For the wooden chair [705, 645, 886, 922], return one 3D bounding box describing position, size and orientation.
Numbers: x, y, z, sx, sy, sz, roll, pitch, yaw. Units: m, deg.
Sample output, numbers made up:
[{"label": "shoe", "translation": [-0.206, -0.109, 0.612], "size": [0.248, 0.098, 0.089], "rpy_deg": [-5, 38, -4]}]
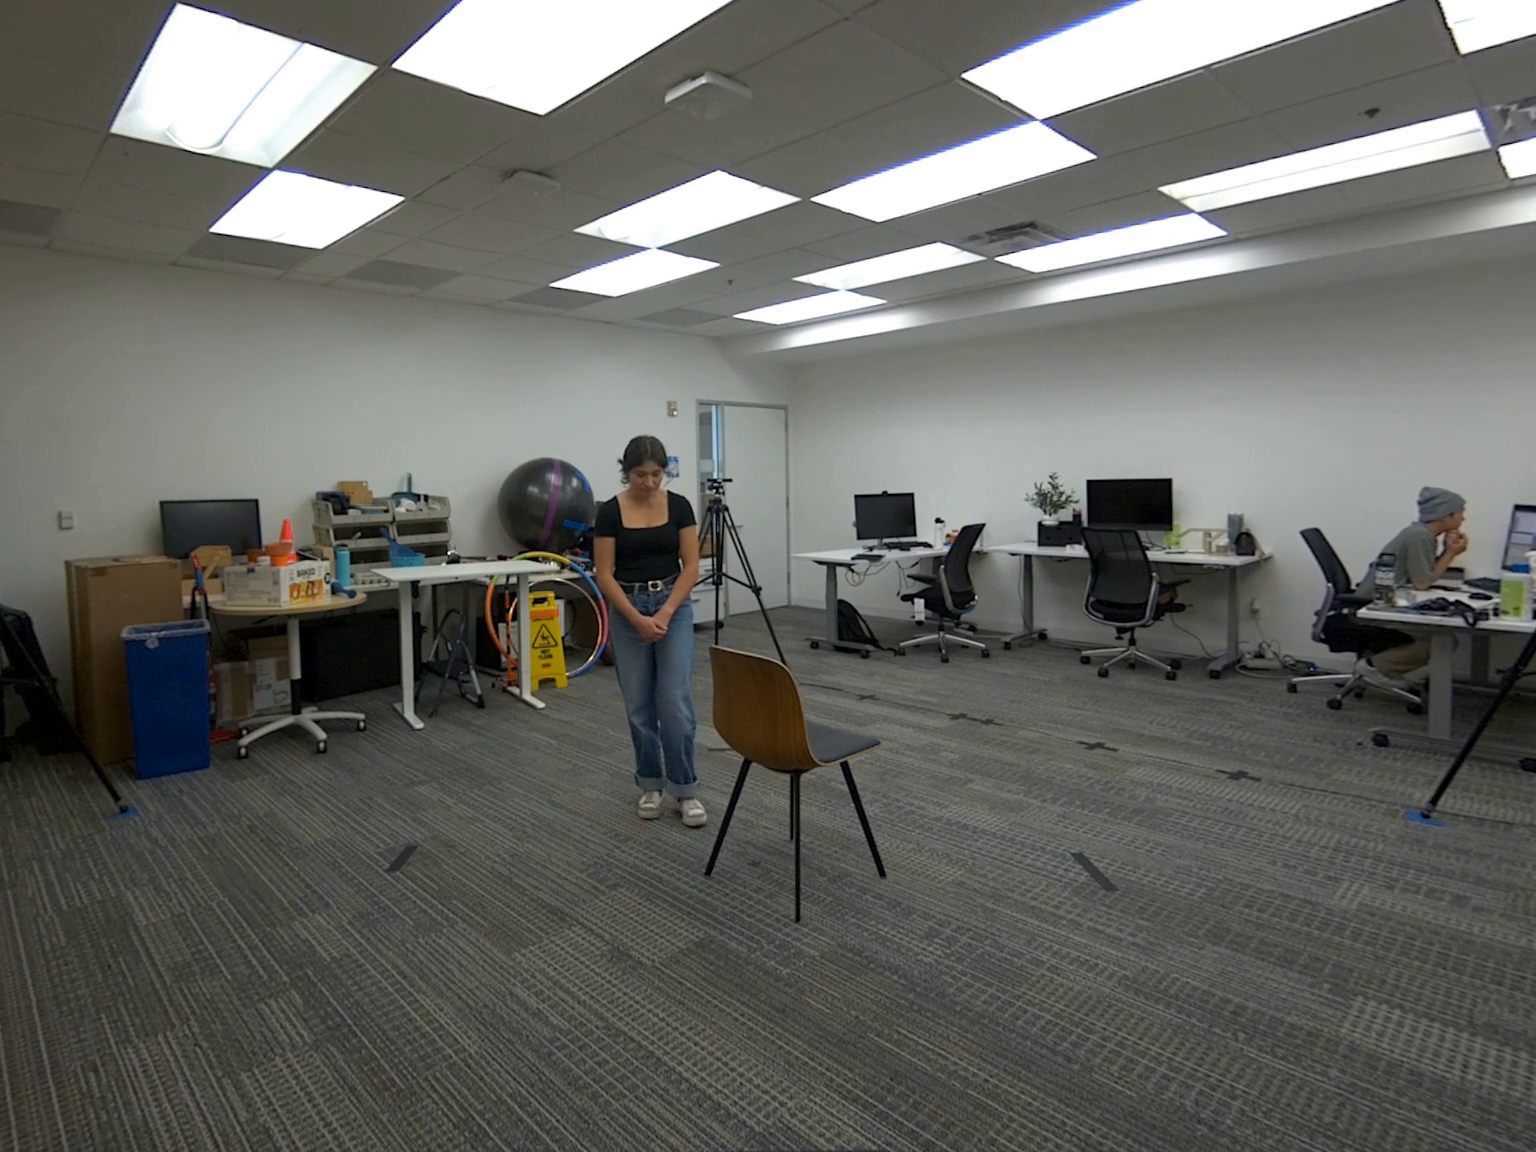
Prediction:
[{"label": "wooden chair", "translation": [0.096, 0.632, 2.971], "size": [0.511, 0.871, 0.493], "rpy_deg": [-11, 10, -43]}]
